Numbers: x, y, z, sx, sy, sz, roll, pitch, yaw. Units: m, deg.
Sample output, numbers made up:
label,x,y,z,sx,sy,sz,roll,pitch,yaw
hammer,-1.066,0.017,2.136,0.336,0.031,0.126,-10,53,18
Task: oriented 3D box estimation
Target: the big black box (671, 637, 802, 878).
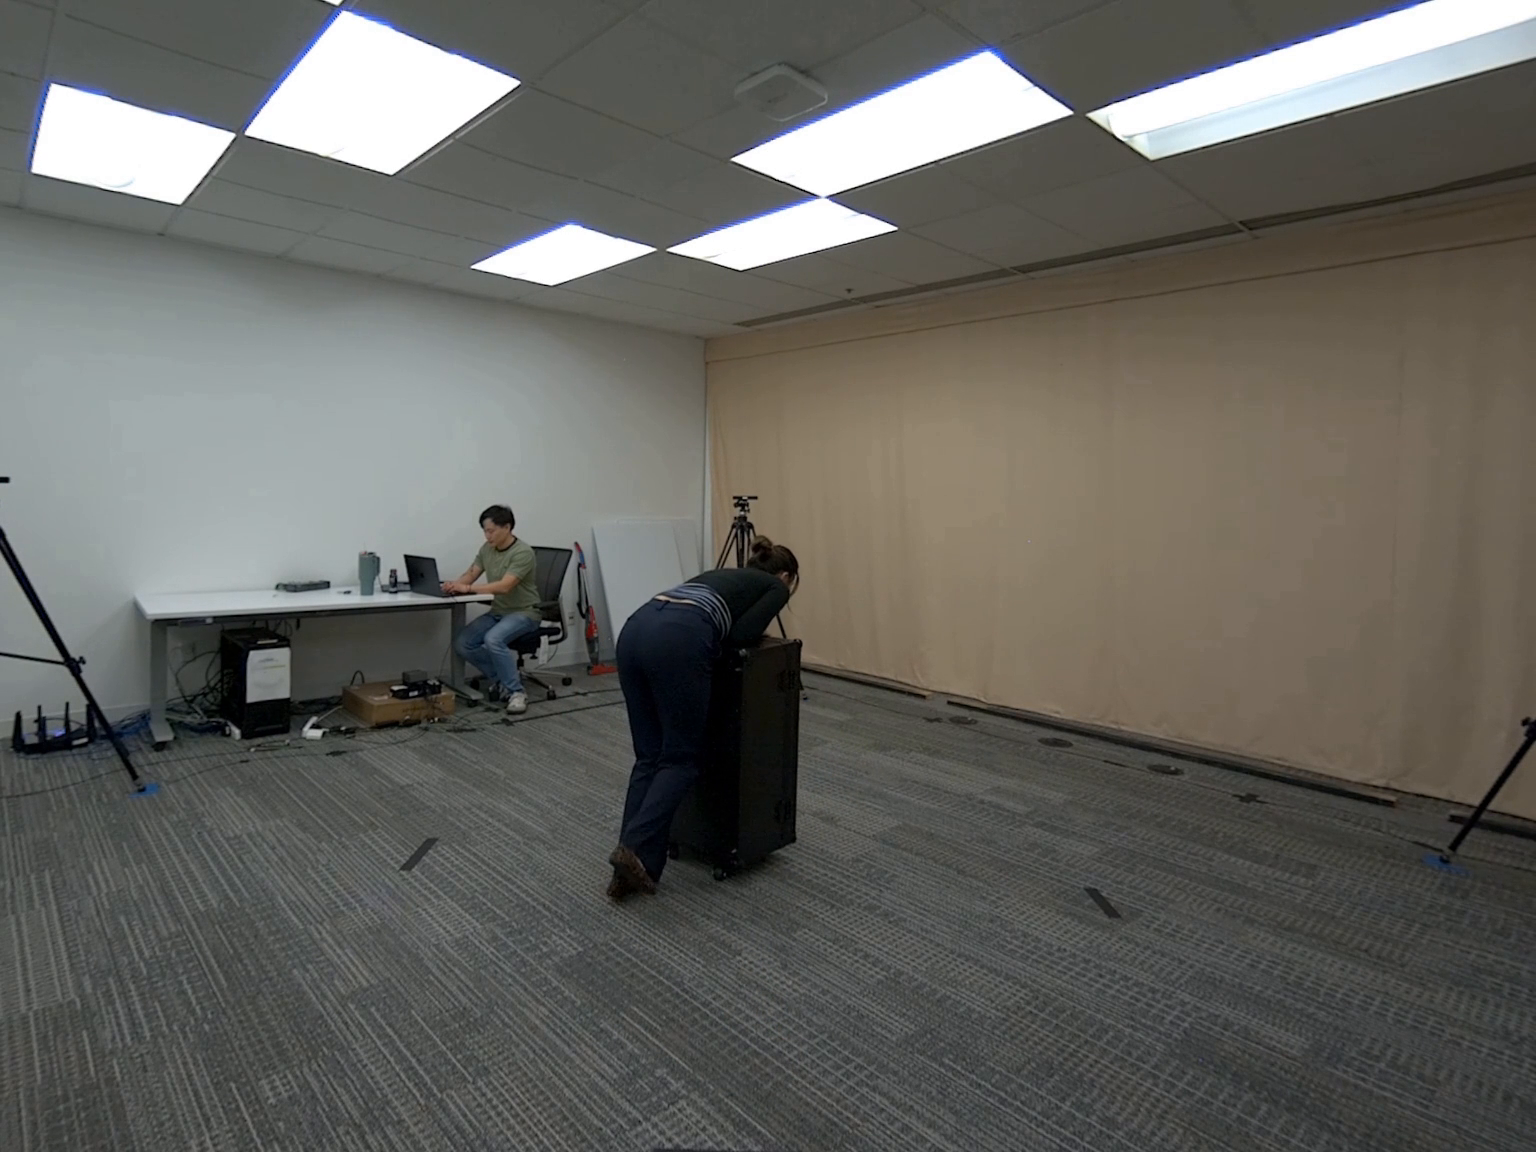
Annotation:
label,x,y,z,sx,sy,sz,roll,pitch,yaw
big black box,-0.183,0.665,3.242,0.534,0.859,0.387,5,5,39
